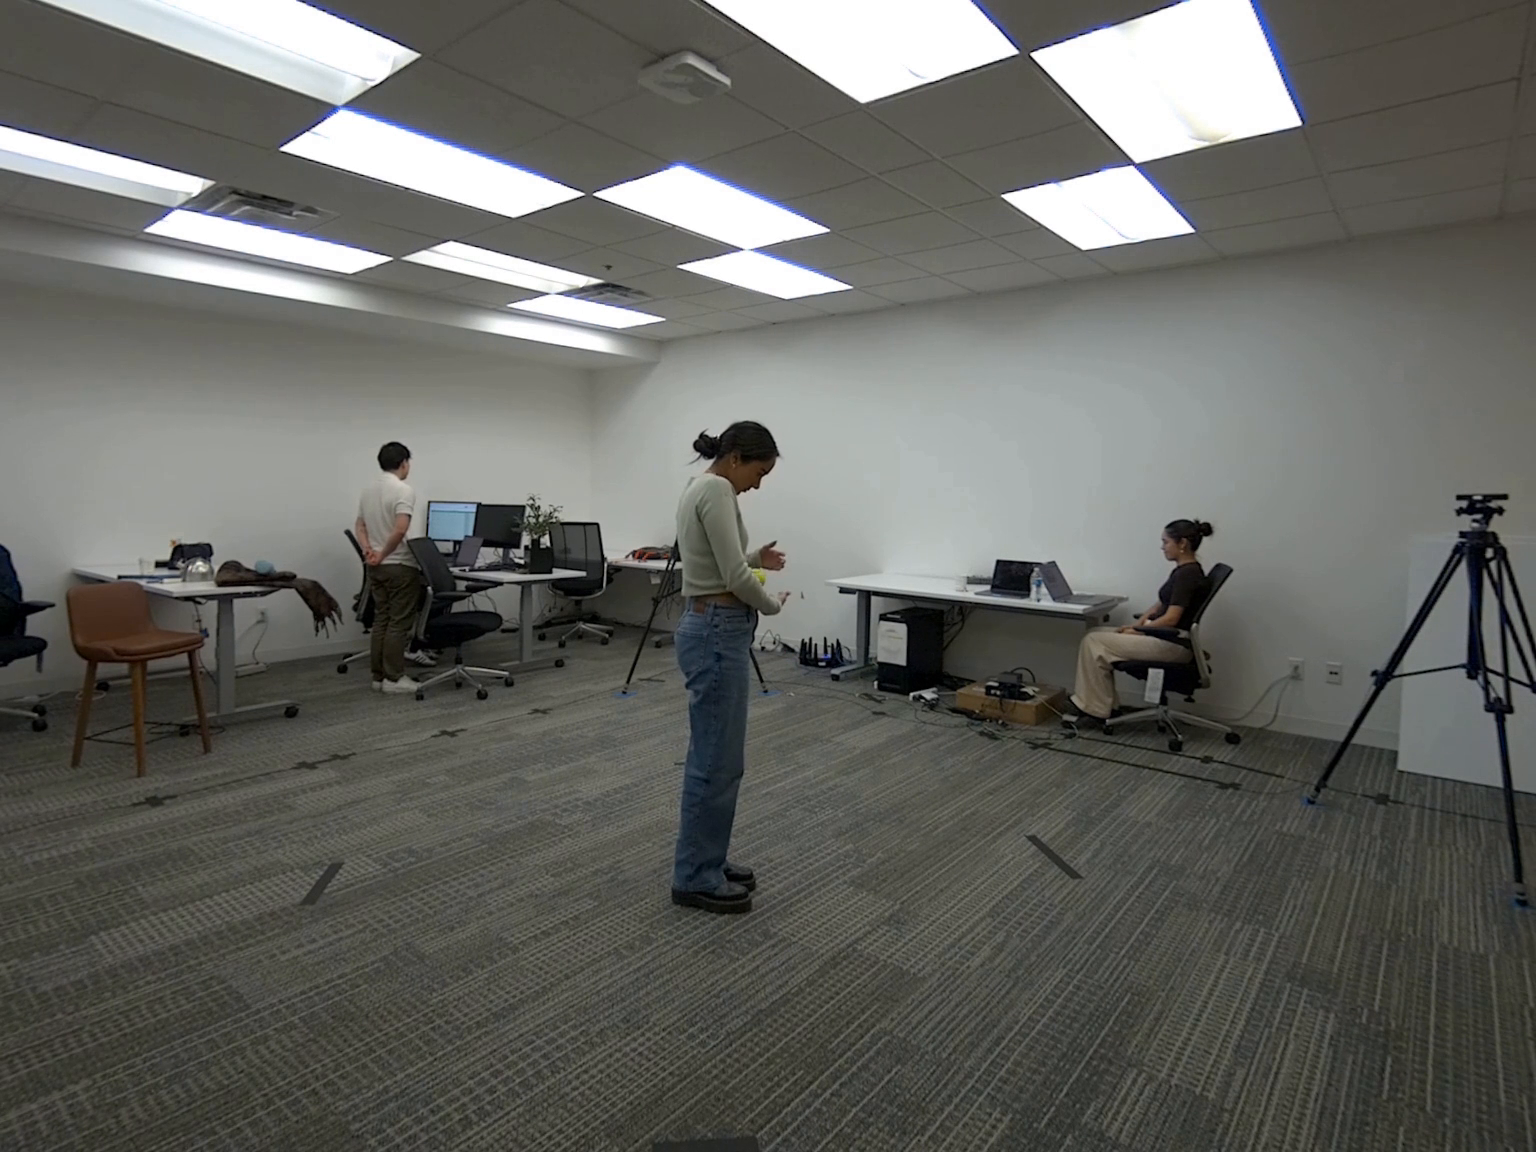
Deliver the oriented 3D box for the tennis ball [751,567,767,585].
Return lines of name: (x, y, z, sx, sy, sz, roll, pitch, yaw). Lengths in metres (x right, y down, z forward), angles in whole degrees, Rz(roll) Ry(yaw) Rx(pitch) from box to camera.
tennis ball: (-0.059, 0.015, 2.790, 0.066, 0.066, 0.067, 1, 4, -2)
